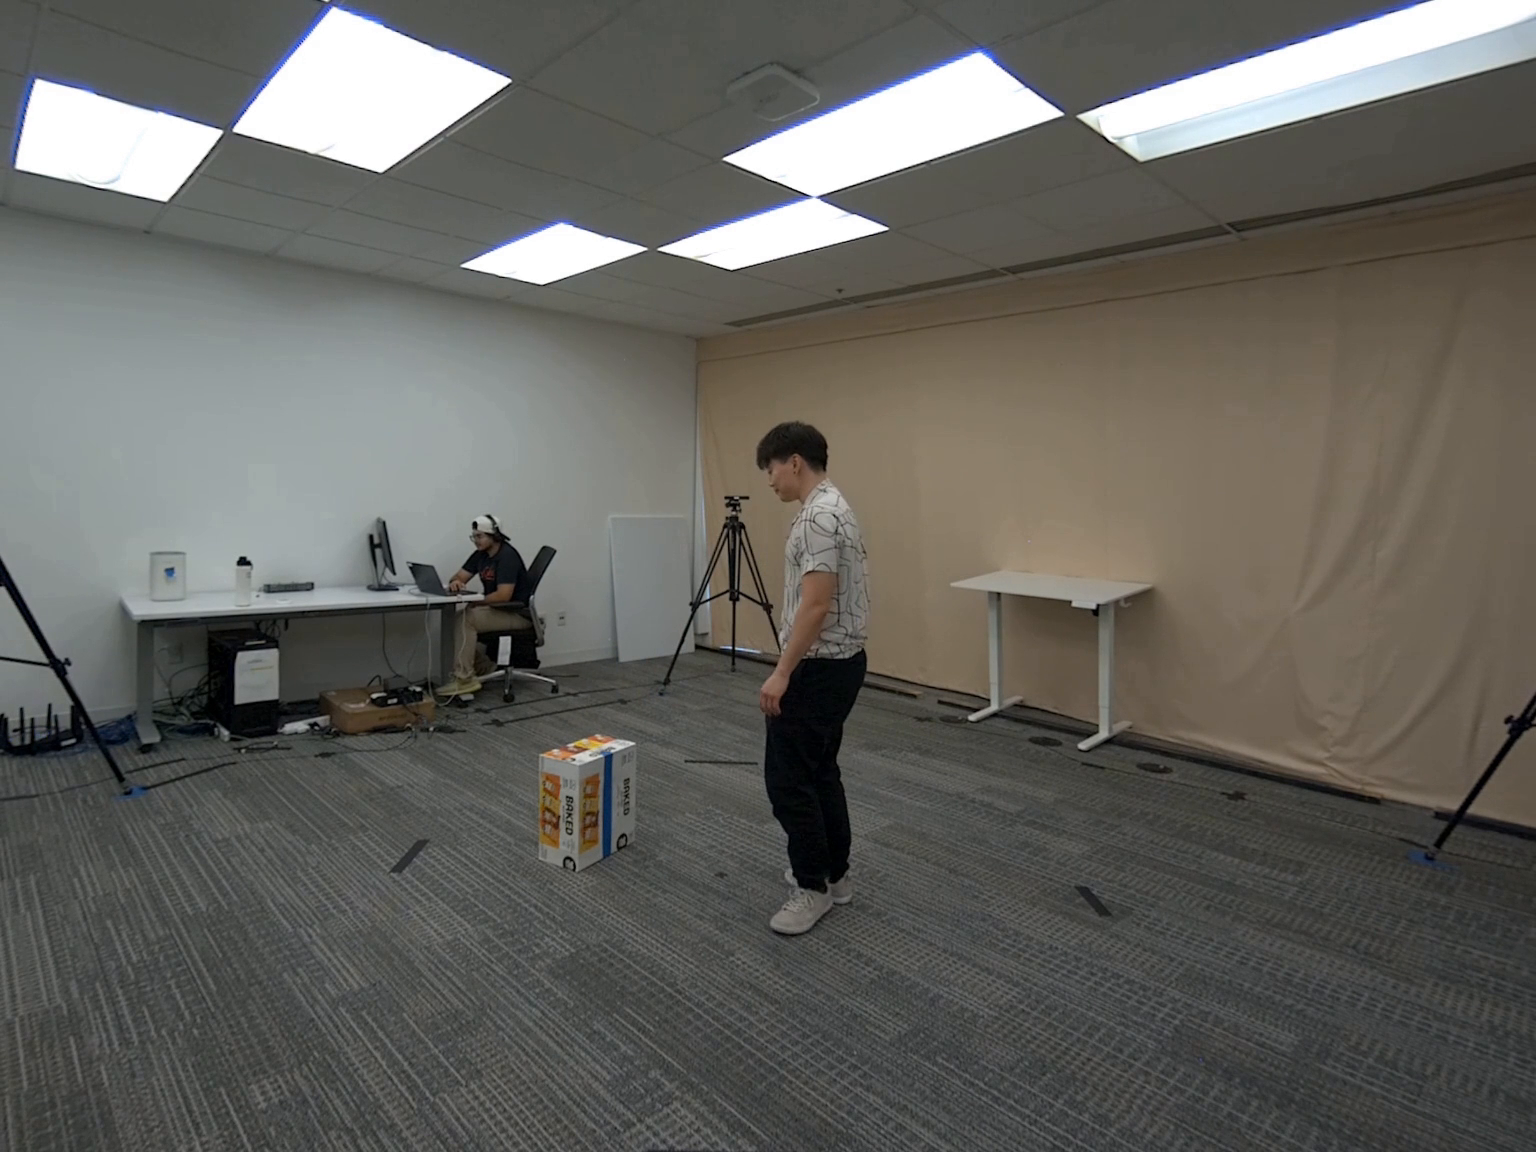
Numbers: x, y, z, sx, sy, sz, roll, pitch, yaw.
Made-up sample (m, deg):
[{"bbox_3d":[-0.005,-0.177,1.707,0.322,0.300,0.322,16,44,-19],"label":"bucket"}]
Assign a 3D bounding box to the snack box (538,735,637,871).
[{"bbox_3d":[-0.708,0.871,3.279,0.210,0.404,0.334,4,5,30],"label":"snack box"}]
